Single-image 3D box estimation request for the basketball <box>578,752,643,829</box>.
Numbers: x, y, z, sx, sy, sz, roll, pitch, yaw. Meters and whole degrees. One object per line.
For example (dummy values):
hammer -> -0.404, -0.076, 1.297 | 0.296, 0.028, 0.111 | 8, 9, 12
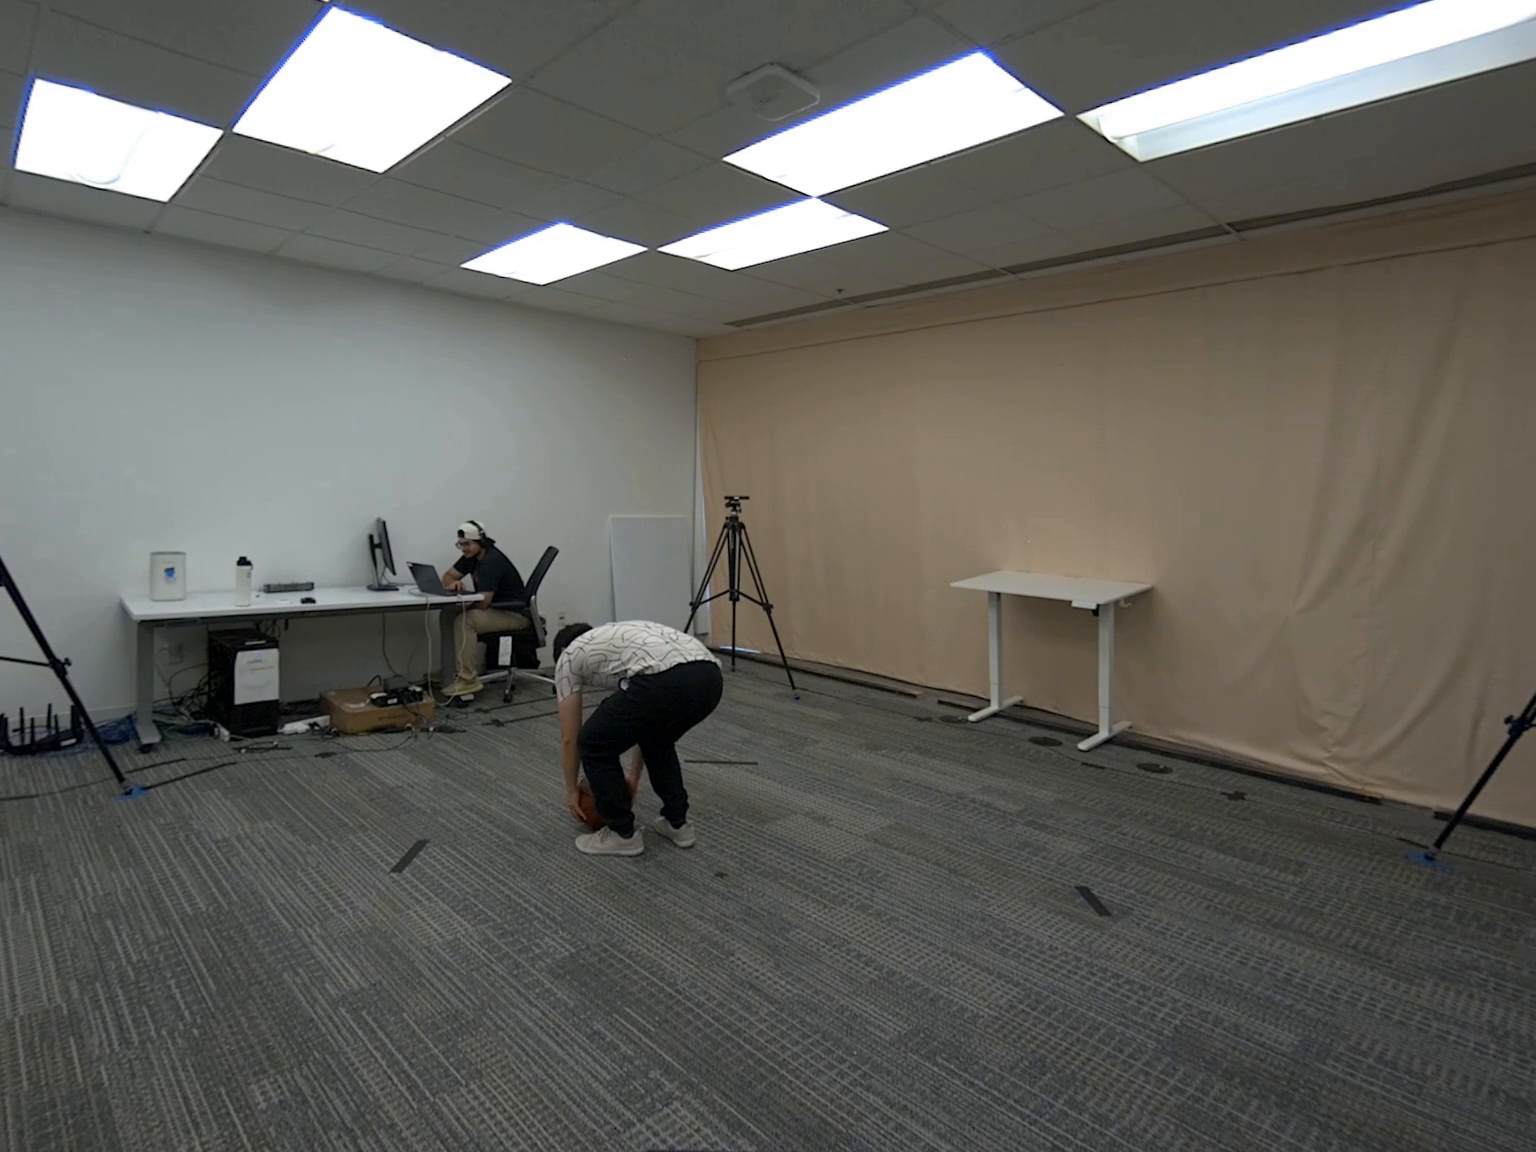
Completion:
basketball -> -0.691, 0.924, 3.524 | 0.236, 0.235, 0.237 | 1, 4, -1
